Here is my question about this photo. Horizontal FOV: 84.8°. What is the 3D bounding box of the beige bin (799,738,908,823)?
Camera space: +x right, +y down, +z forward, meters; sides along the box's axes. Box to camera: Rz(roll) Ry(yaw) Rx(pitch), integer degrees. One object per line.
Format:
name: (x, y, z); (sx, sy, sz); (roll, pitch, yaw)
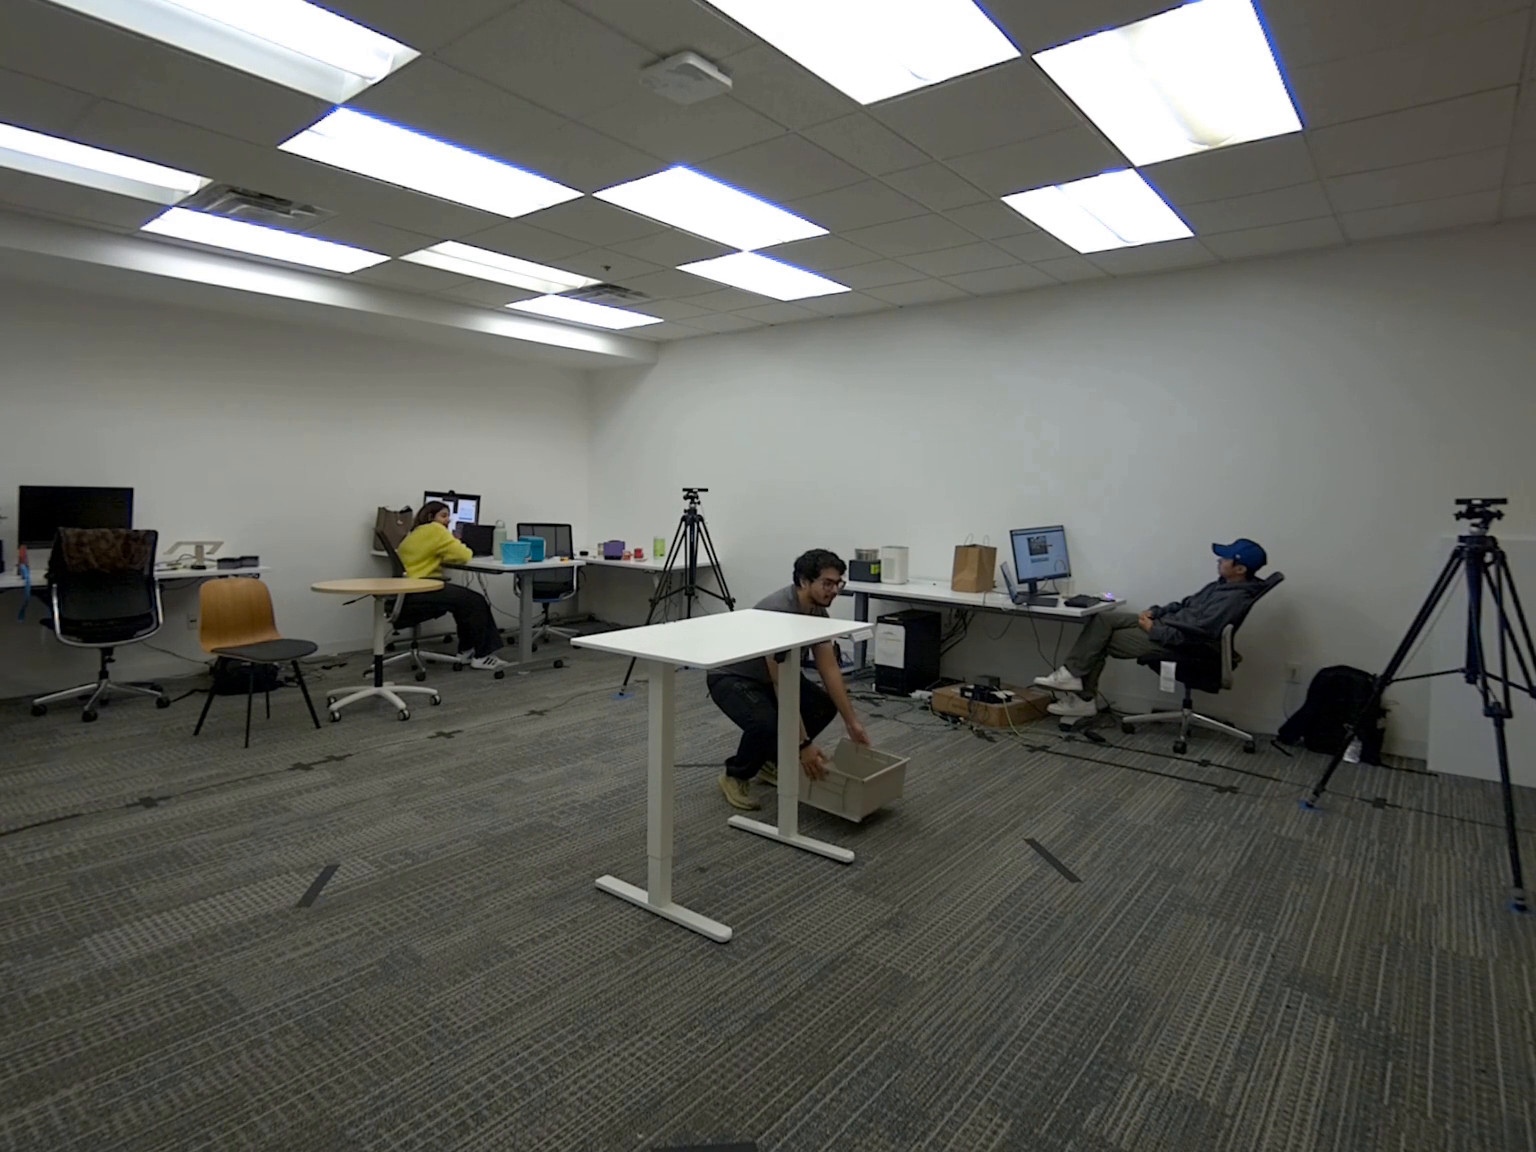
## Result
beige bin: (0.335, 0.857, 3.661); (0.391, 0.188, 0.410); (11, 8, 36)
